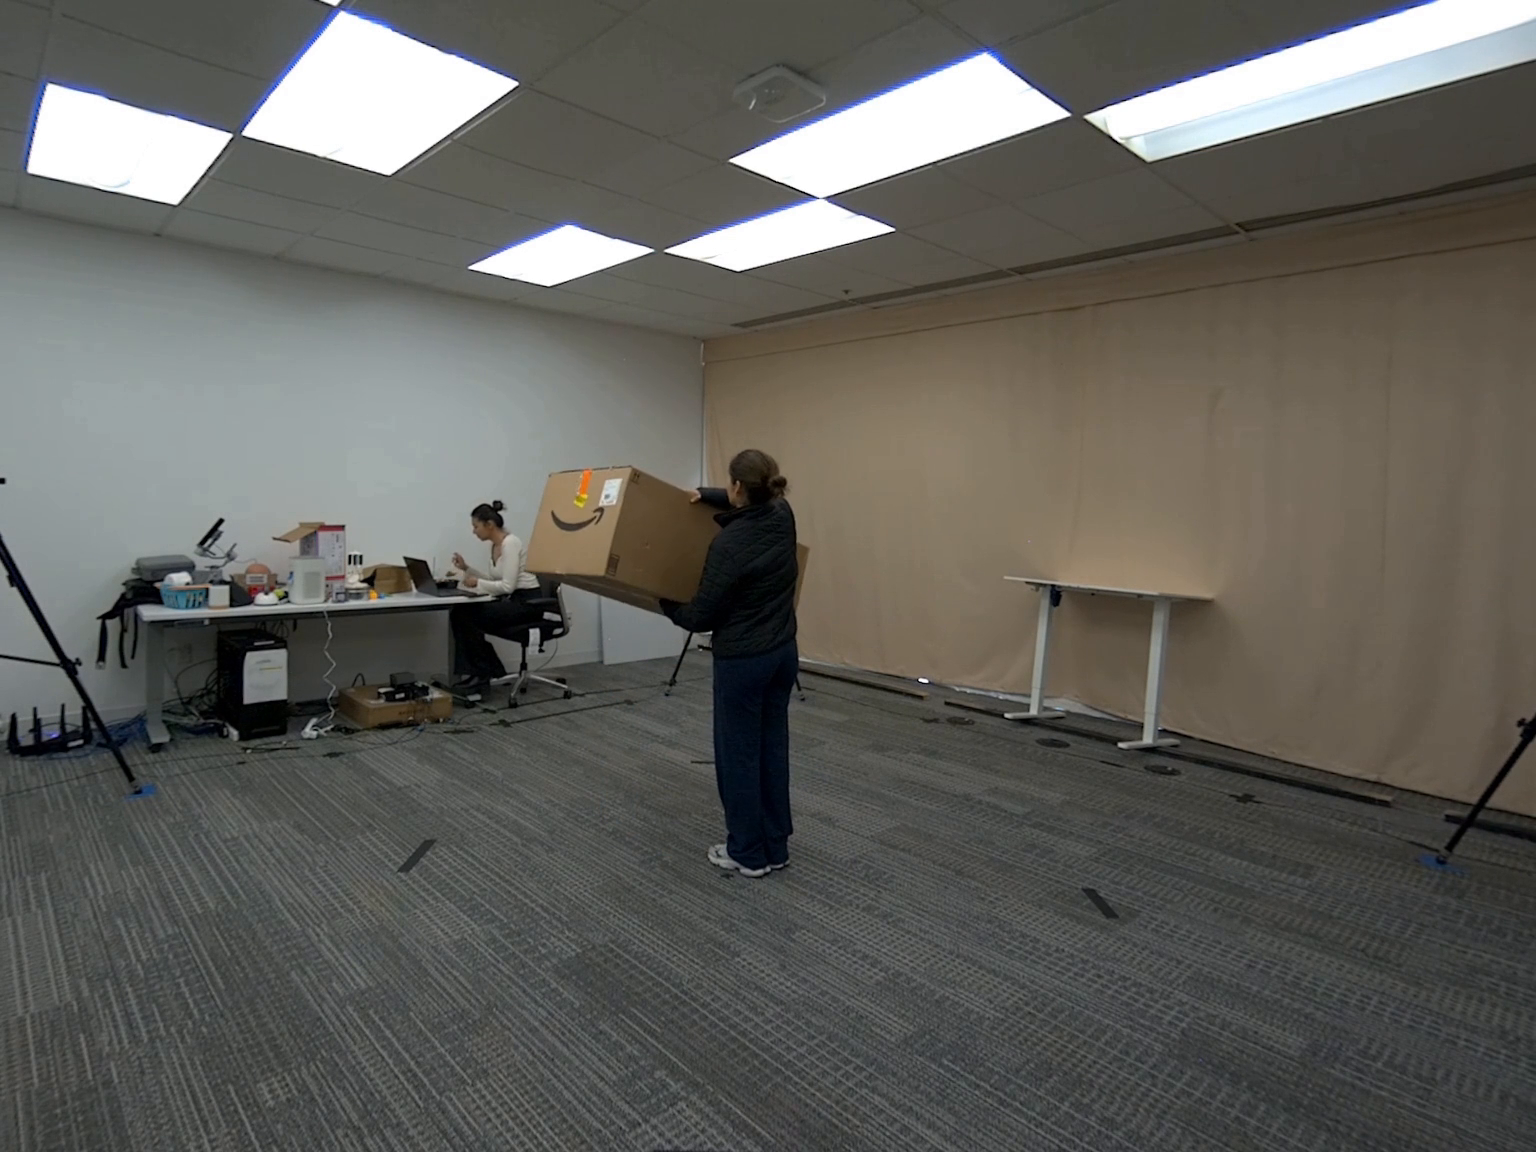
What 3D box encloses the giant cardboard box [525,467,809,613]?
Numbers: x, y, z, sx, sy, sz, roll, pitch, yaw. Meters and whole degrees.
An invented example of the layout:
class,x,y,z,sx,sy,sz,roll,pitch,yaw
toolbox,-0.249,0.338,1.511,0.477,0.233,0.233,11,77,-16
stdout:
class,x,y,z,sx,sy,sz,roll,pitch,yaw
giant cardboard box,-0.402,-0.073,3.544,0.995,0.429,0.591,22,-14,-42
